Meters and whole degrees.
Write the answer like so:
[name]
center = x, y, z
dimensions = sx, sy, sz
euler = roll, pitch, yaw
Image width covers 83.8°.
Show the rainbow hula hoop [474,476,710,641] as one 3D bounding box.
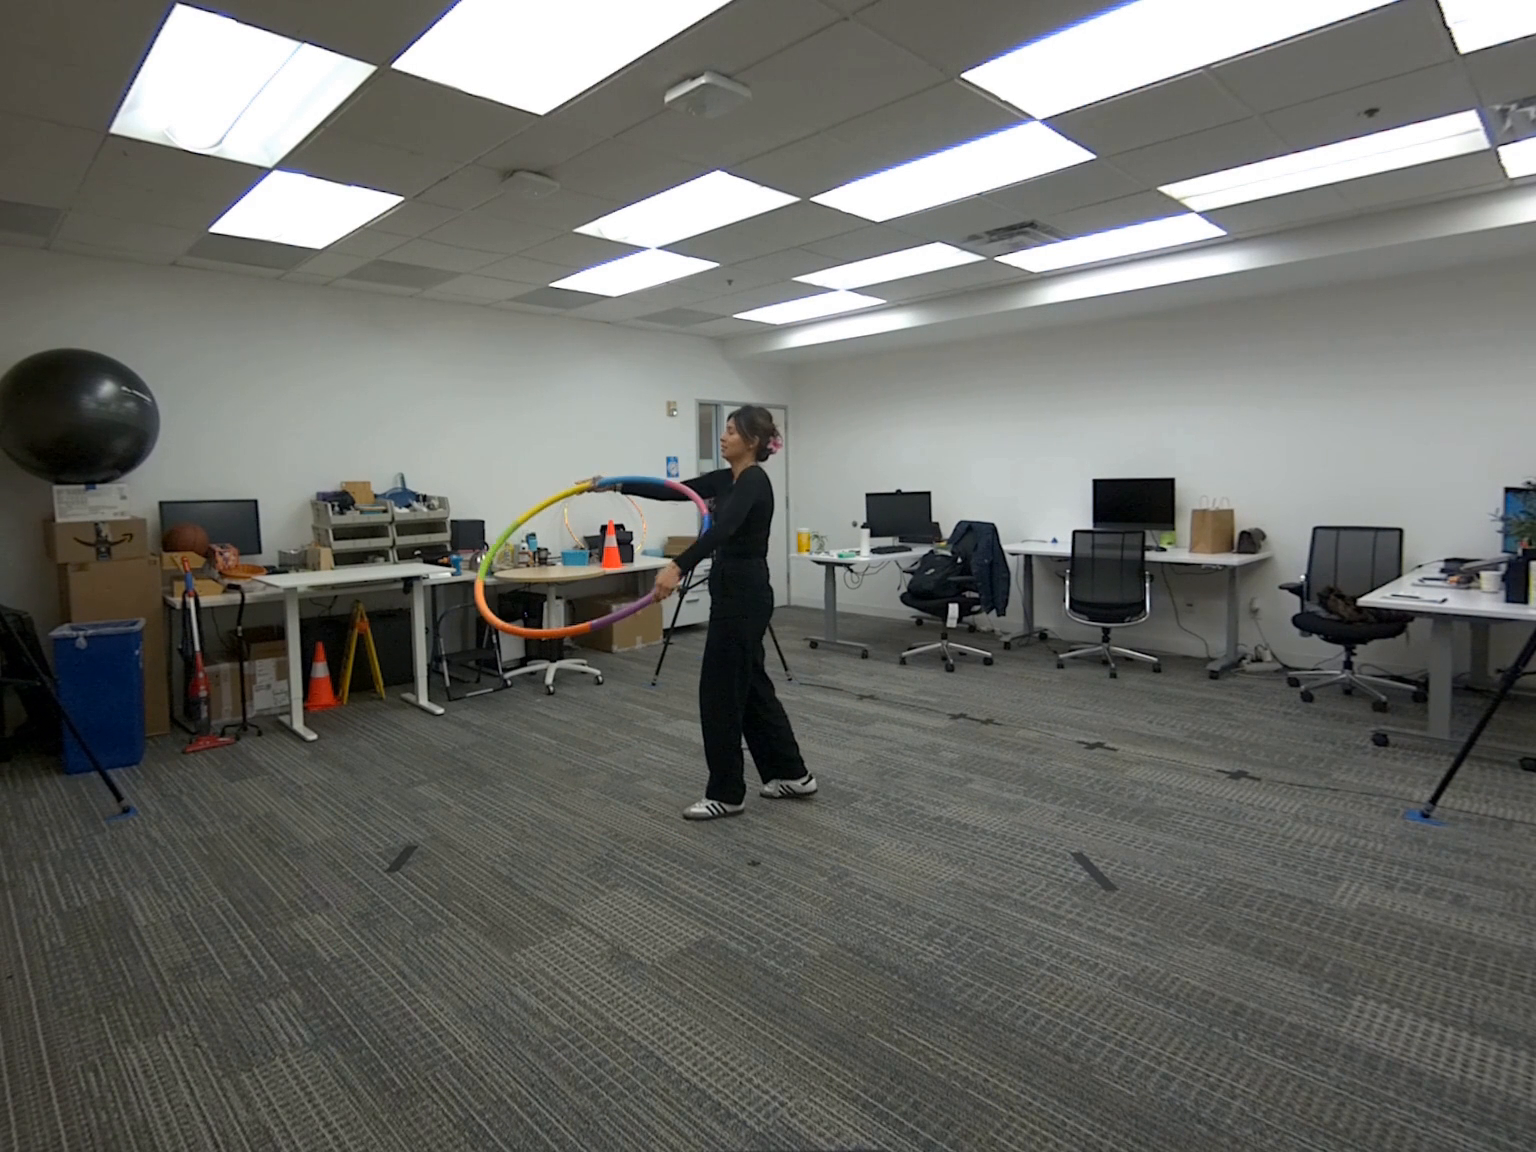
[rainbow hula hoop]
center = -0.697, -0.118, 3.437
dimensions = 0.992, 0.050, 1.012
euler = -12, 39, 8
